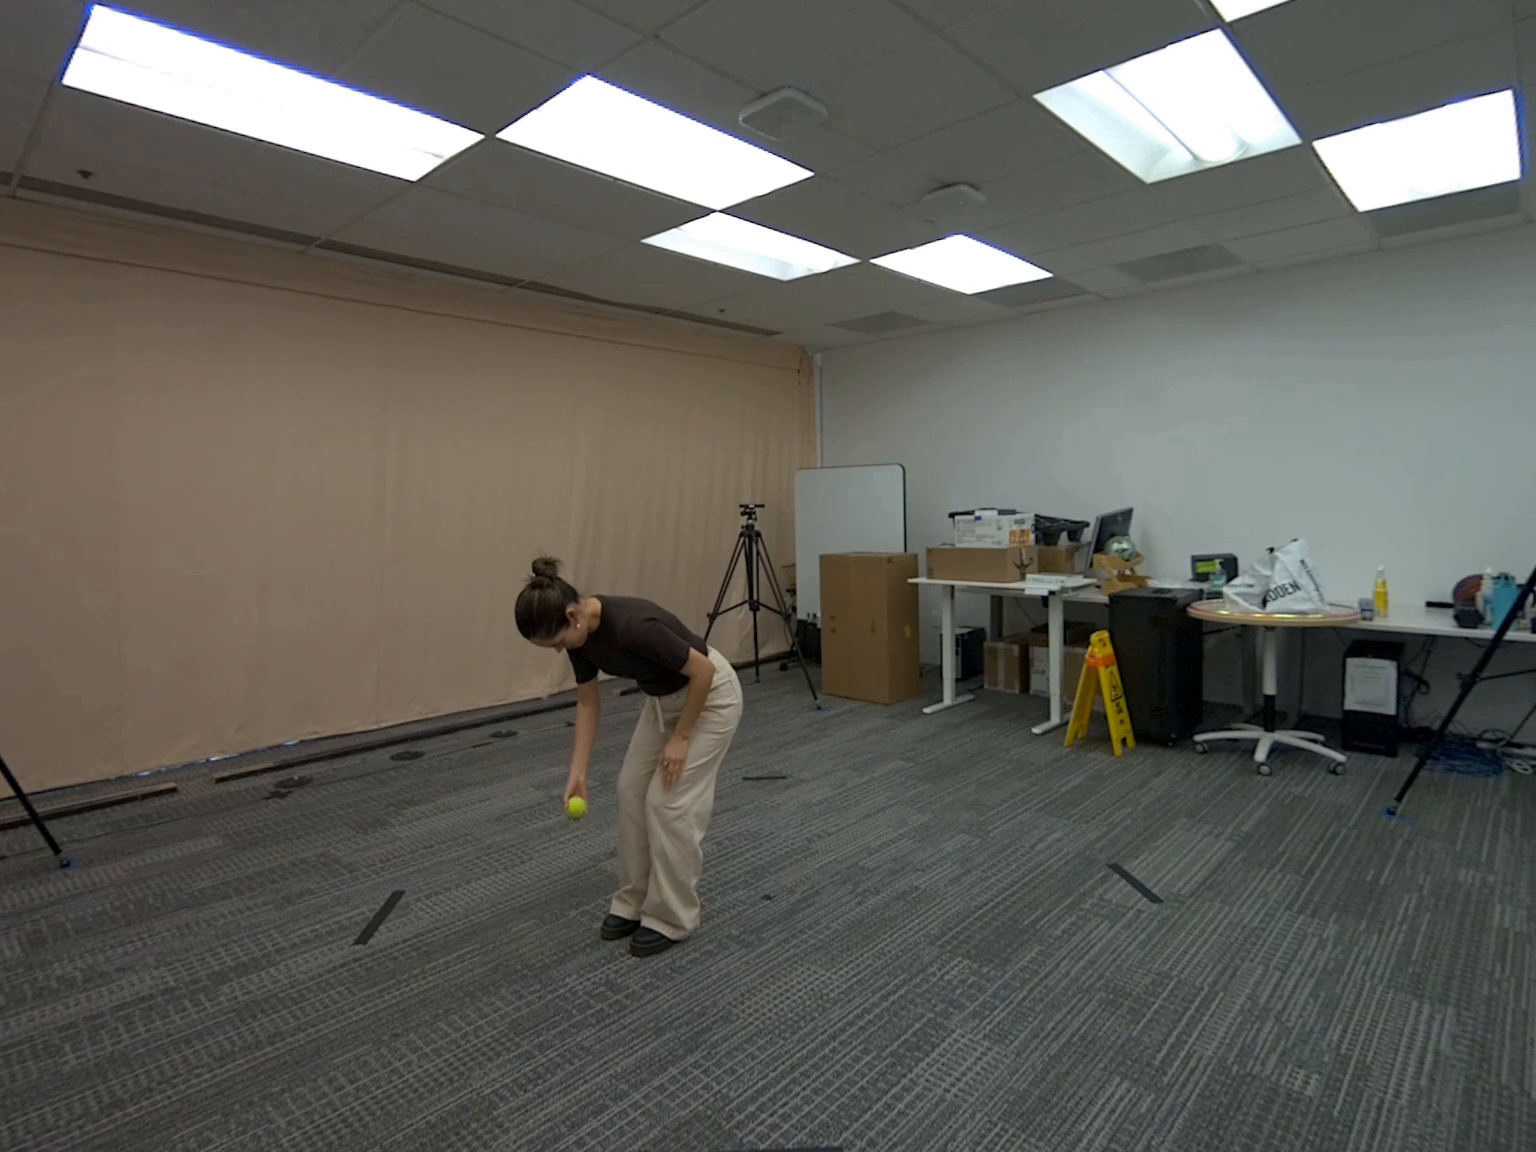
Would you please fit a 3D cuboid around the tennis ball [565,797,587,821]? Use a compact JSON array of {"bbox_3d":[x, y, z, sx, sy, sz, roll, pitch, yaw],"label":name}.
[{"bbox_3d":[-0.601,0.713,2.661,0.066,0.066,0.067,-1,4,-2],"label":"tennis ball"}]
